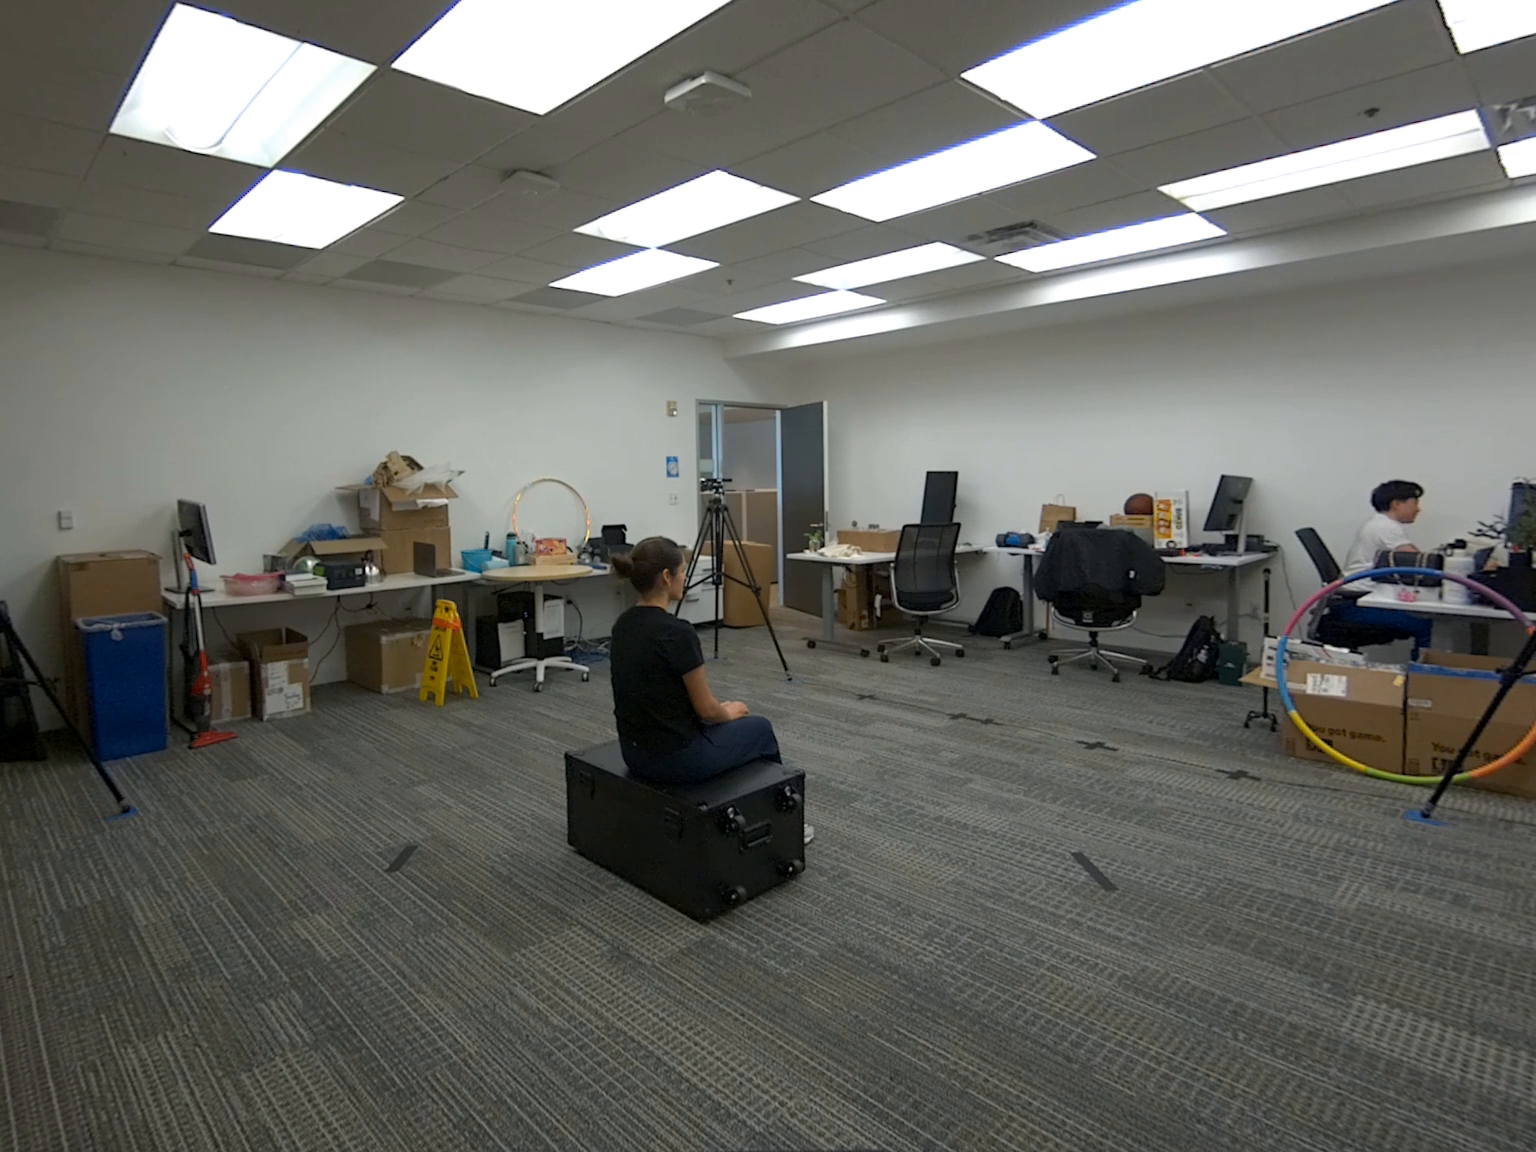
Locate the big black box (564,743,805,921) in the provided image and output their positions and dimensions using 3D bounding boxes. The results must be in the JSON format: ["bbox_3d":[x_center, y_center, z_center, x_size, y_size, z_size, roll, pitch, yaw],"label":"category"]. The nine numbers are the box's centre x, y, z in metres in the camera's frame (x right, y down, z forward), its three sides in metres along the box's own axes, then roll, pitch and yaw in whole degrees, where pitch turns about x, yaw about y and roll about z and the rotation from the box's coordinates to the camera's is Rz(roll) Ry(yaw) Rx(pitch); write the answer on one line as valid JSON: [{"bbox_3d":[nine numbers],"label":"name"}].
[{"bbox_3d":[-0.296,0.863,3.093,0.508,0.394,0.888,-7,8,-44],"label":"big black box"}]
